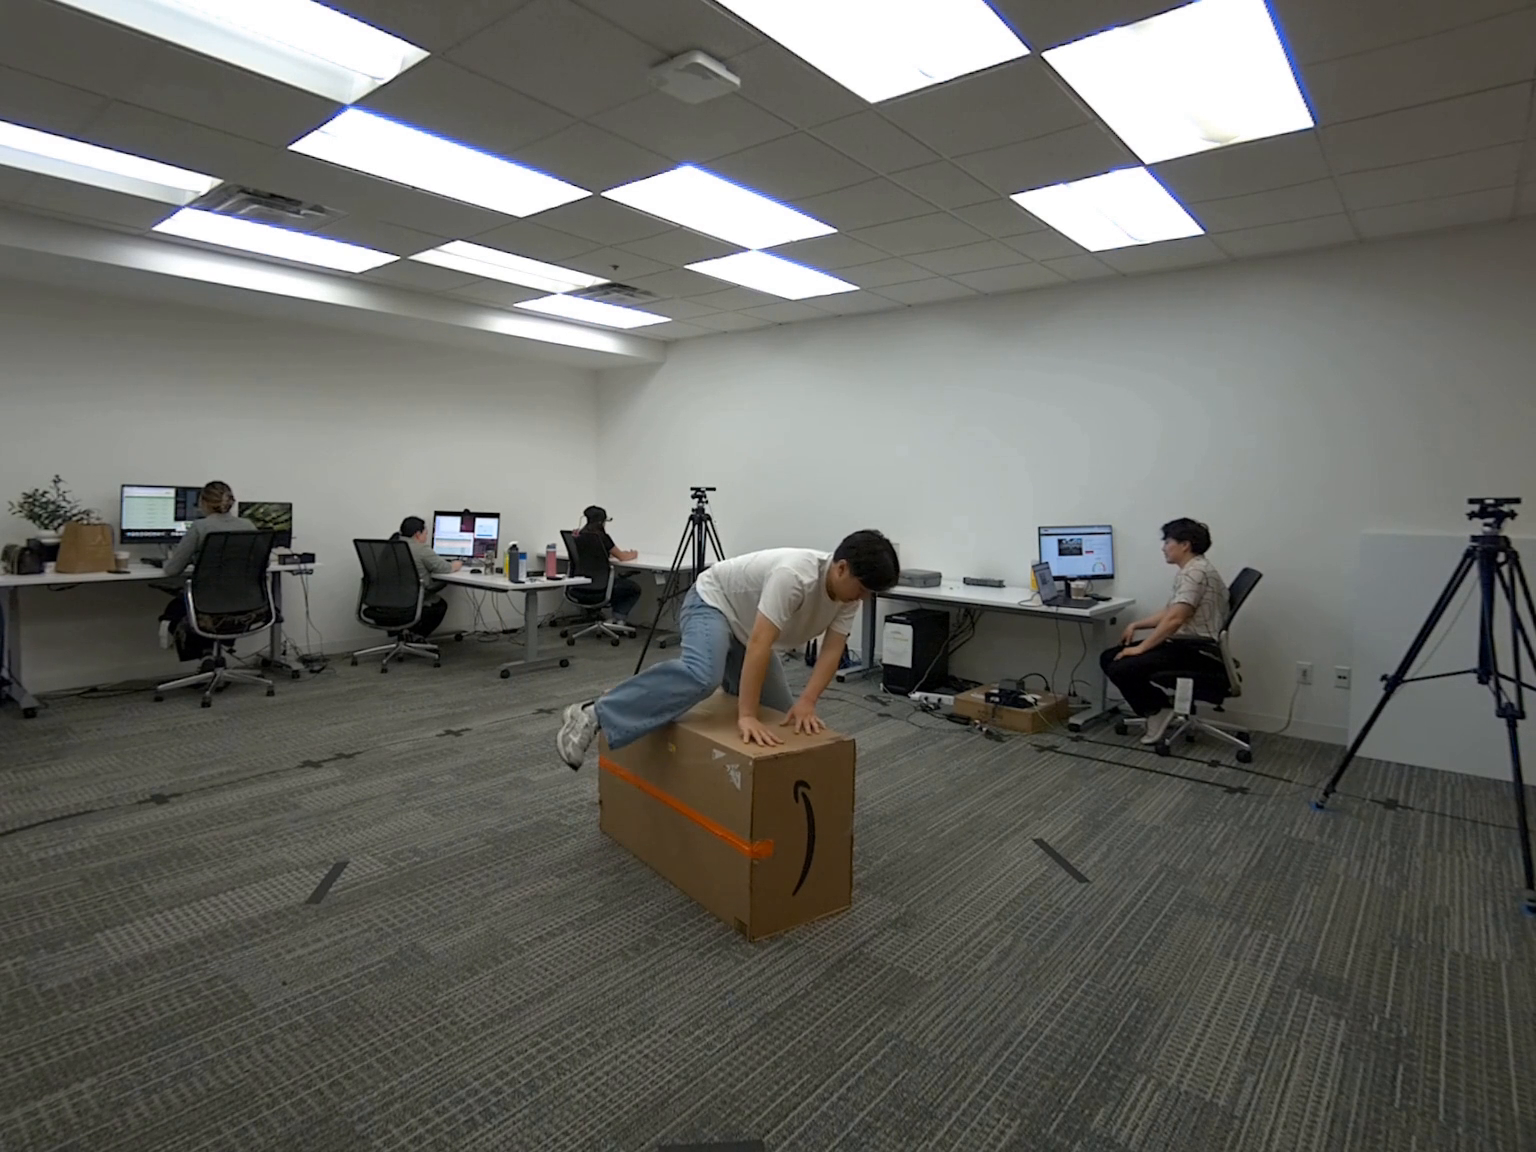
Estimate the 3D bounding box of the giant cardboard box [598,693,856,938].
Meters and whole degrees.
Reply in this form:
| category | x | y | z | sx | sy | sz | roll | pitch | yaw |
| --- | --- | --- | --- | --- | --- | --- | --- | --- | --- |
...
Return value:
| category | x | y | z | sx | sy | sz | roll | pitch | yaw |
| --- | --- | --- | --- | --- | --- | --- | --- | --- | --- |
| giant cardboard box | -0.204 | 0.780 | 3.119 | 0.413 | 0.576 | 1.060 | -1 | 5 | -36 |
